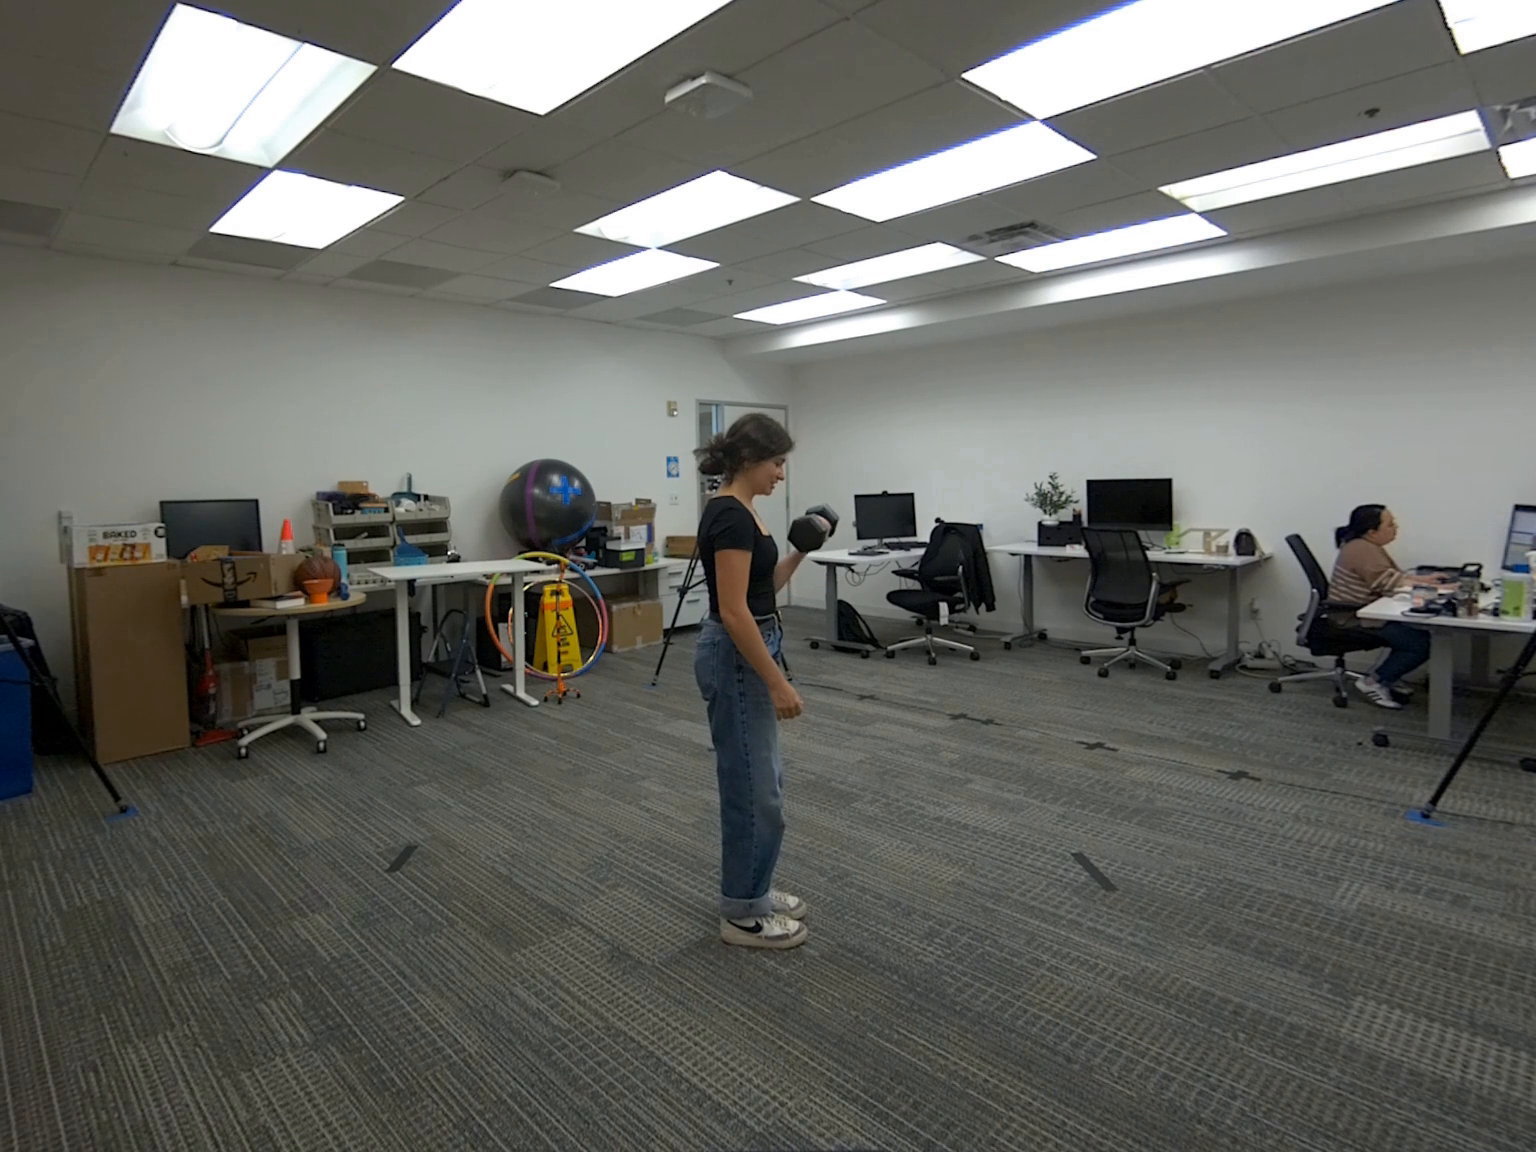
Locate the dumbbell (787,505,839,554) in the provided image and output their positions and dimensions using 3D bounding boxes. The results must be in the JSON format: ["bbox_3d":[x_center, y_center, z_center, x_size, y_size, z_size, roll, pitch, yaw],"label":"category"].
[{"bbox_3d":[0.154,-0.149,2.788,0.110,0.122,0.292,20,17,9],"label":"dumbbell"}]
